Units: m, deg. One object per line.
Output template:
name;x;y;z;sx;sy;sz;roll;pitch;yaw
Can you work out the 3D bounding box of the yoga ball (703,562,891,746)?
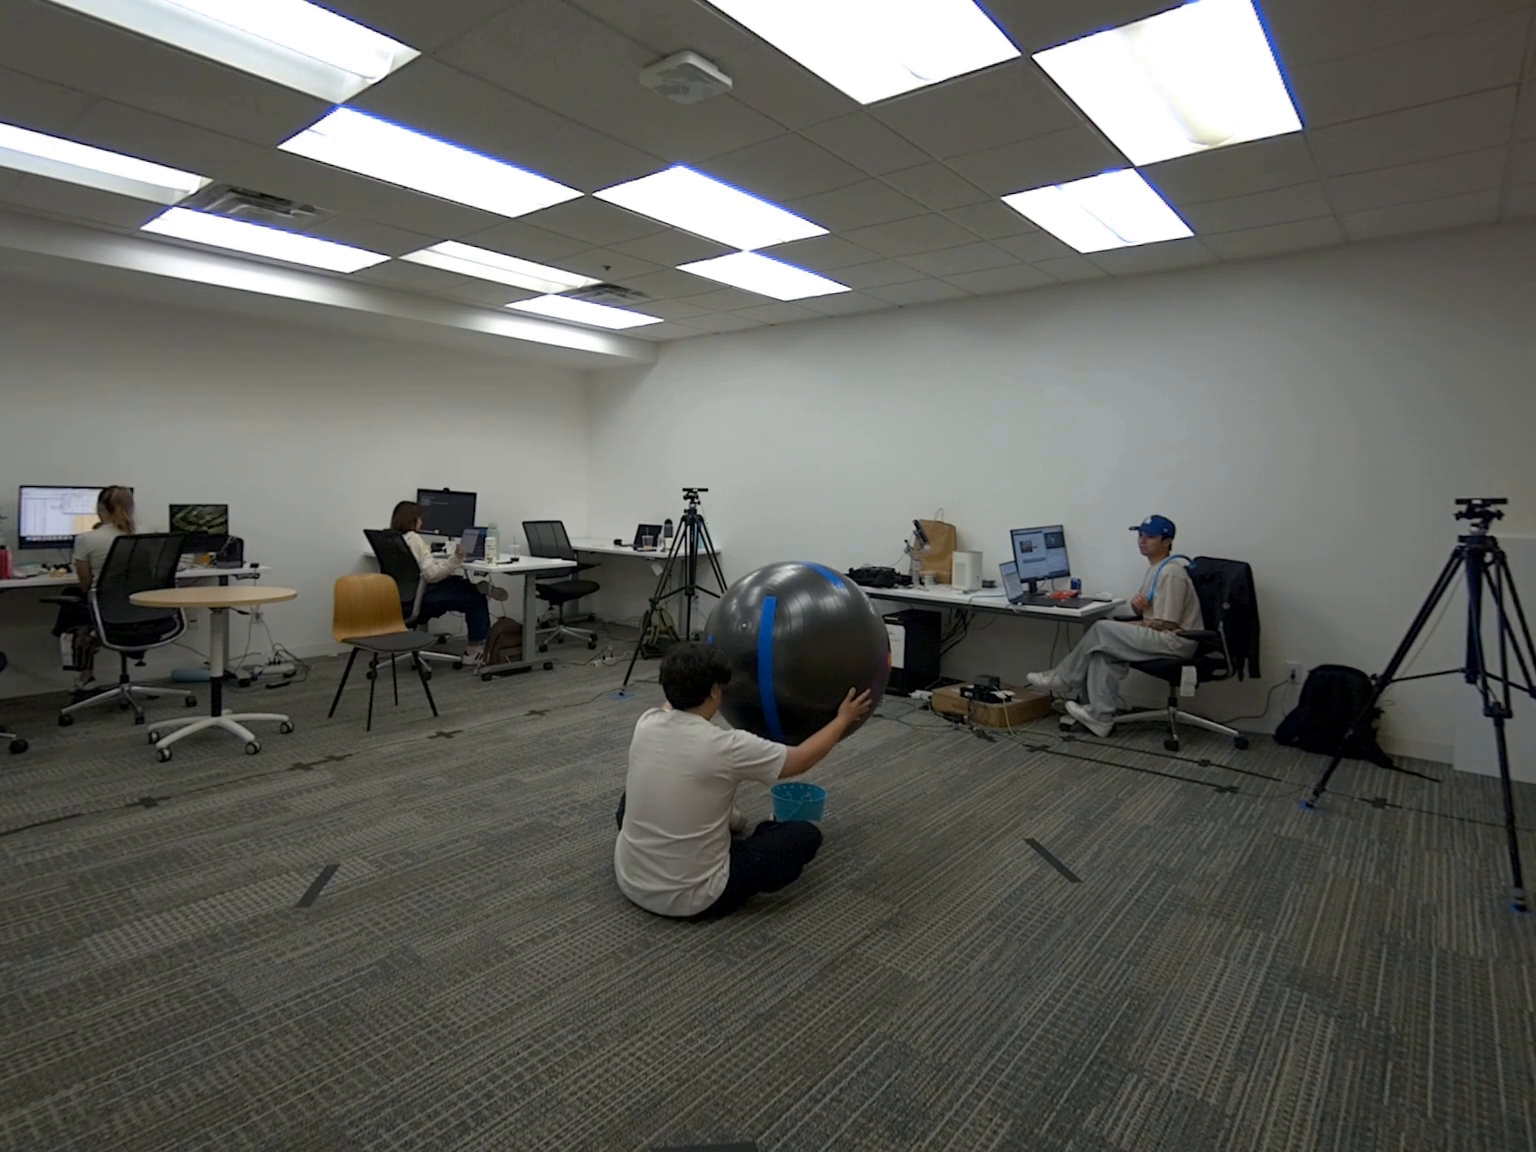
yoga ball;0.106;0.325;3.431;0.757;0.755;0.762;1;4;-2
